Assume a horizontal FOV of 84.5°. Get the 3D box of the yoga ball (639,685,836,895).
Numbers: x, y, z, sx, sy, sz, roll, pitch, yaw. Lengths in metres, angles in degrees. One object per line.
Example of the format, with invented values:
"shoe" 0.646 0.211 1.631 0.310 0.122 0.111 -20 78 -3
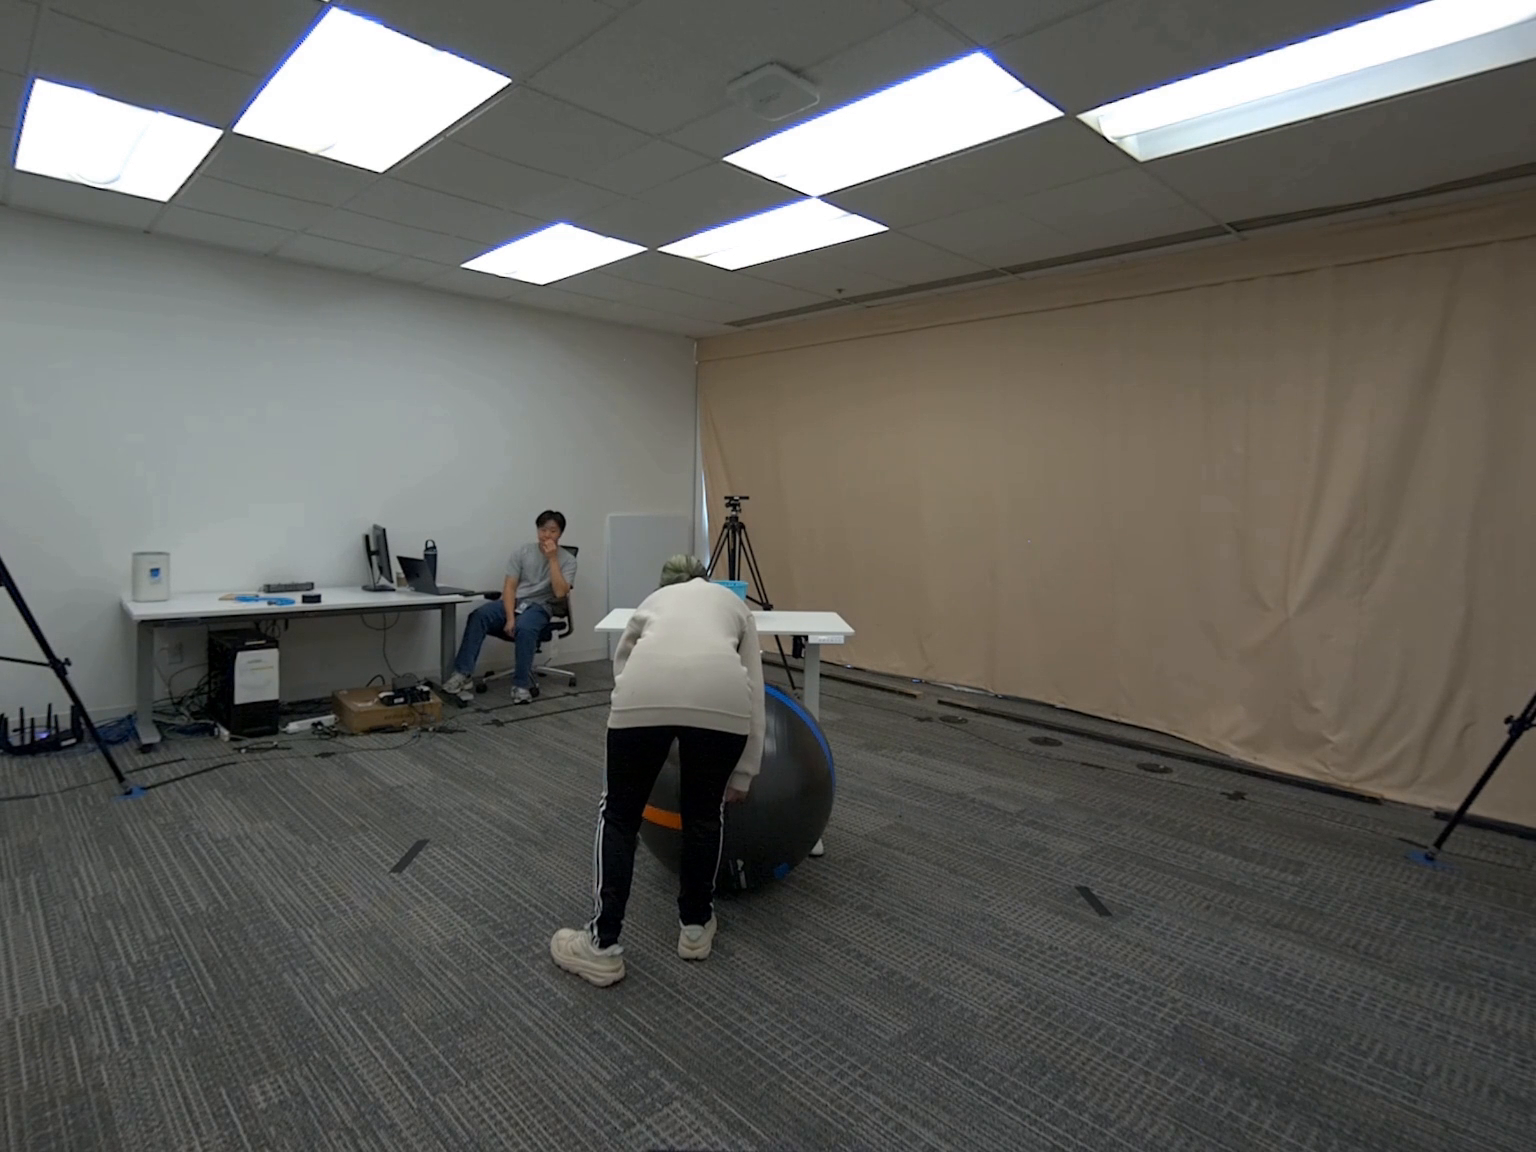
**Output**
"yoga ball" -0.143 0.742 3.057 0.757 0.756 0.761 1 4 -1
